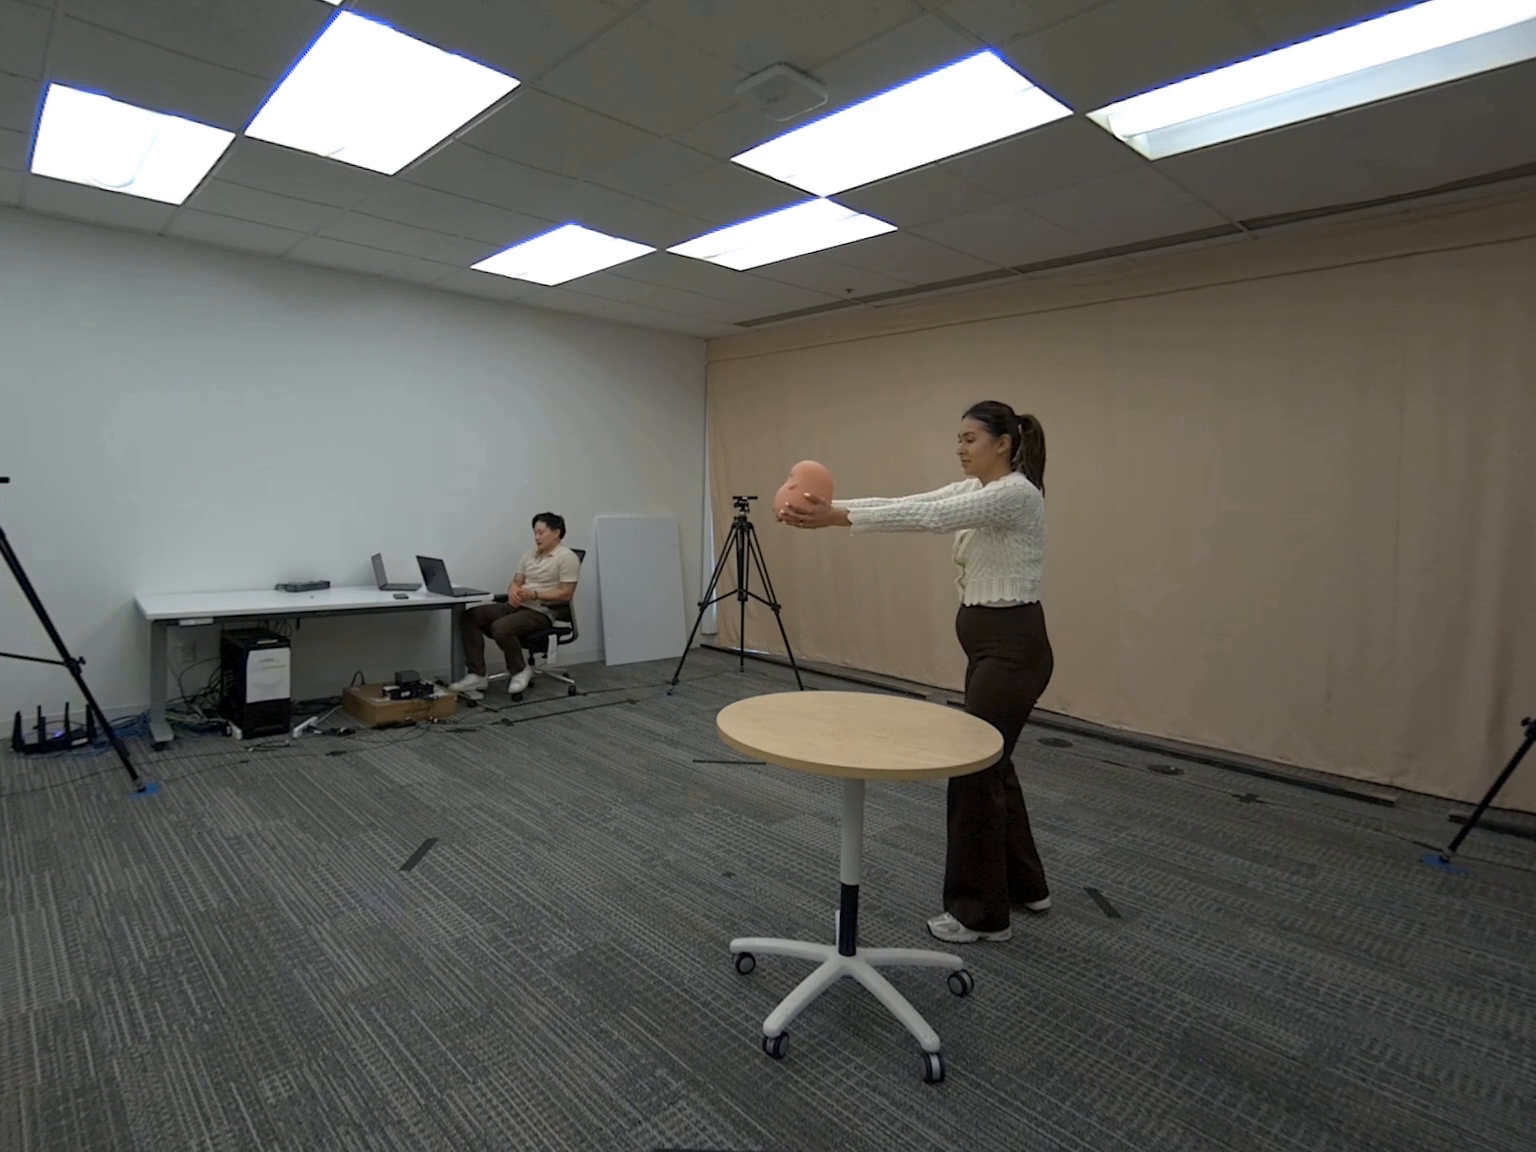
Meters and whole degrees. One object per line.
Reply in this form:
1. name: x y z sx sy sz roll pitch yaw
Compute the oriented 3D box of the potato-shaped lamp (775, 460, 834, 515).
1. potato-shaped lamp: 0.115 -0.255 2.601 0.171 0.198 0.165 11 1 -5
